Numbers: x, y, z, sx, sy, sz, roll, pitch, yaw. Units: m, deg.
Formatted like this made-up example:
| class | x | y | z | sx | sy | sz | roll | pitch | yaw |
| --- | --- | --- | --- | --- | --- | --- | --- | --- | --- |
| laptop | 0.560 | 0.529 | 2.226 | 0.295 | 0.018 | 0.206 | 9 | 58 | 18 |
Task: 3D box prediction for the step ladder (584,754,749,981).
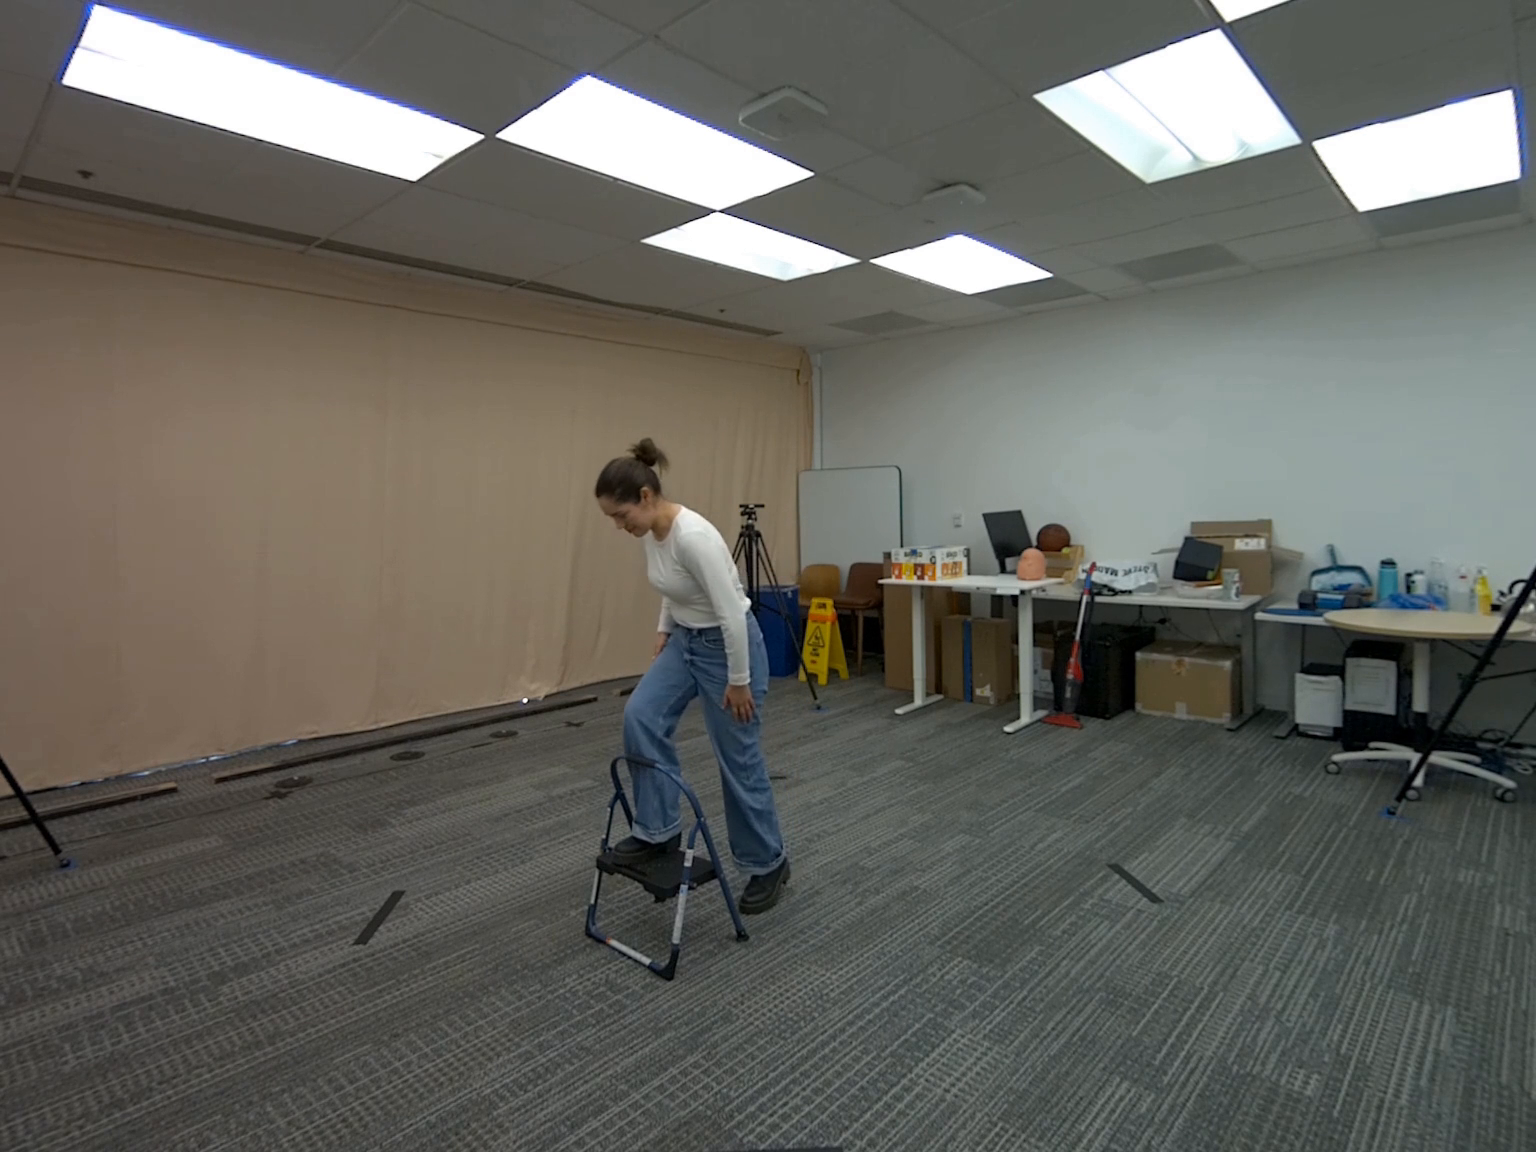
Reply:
| class | x | y | z | sx | sy | sz | roll | pitch | yaw |
| --- | --- | --- | --- | --- | --- | --- | --- | --- | --- |
| step ladder | -0.336 | 0.867 | 2.714 | 0.445 | 0.605 | 0.339 | 2 | 4 | 42 |
